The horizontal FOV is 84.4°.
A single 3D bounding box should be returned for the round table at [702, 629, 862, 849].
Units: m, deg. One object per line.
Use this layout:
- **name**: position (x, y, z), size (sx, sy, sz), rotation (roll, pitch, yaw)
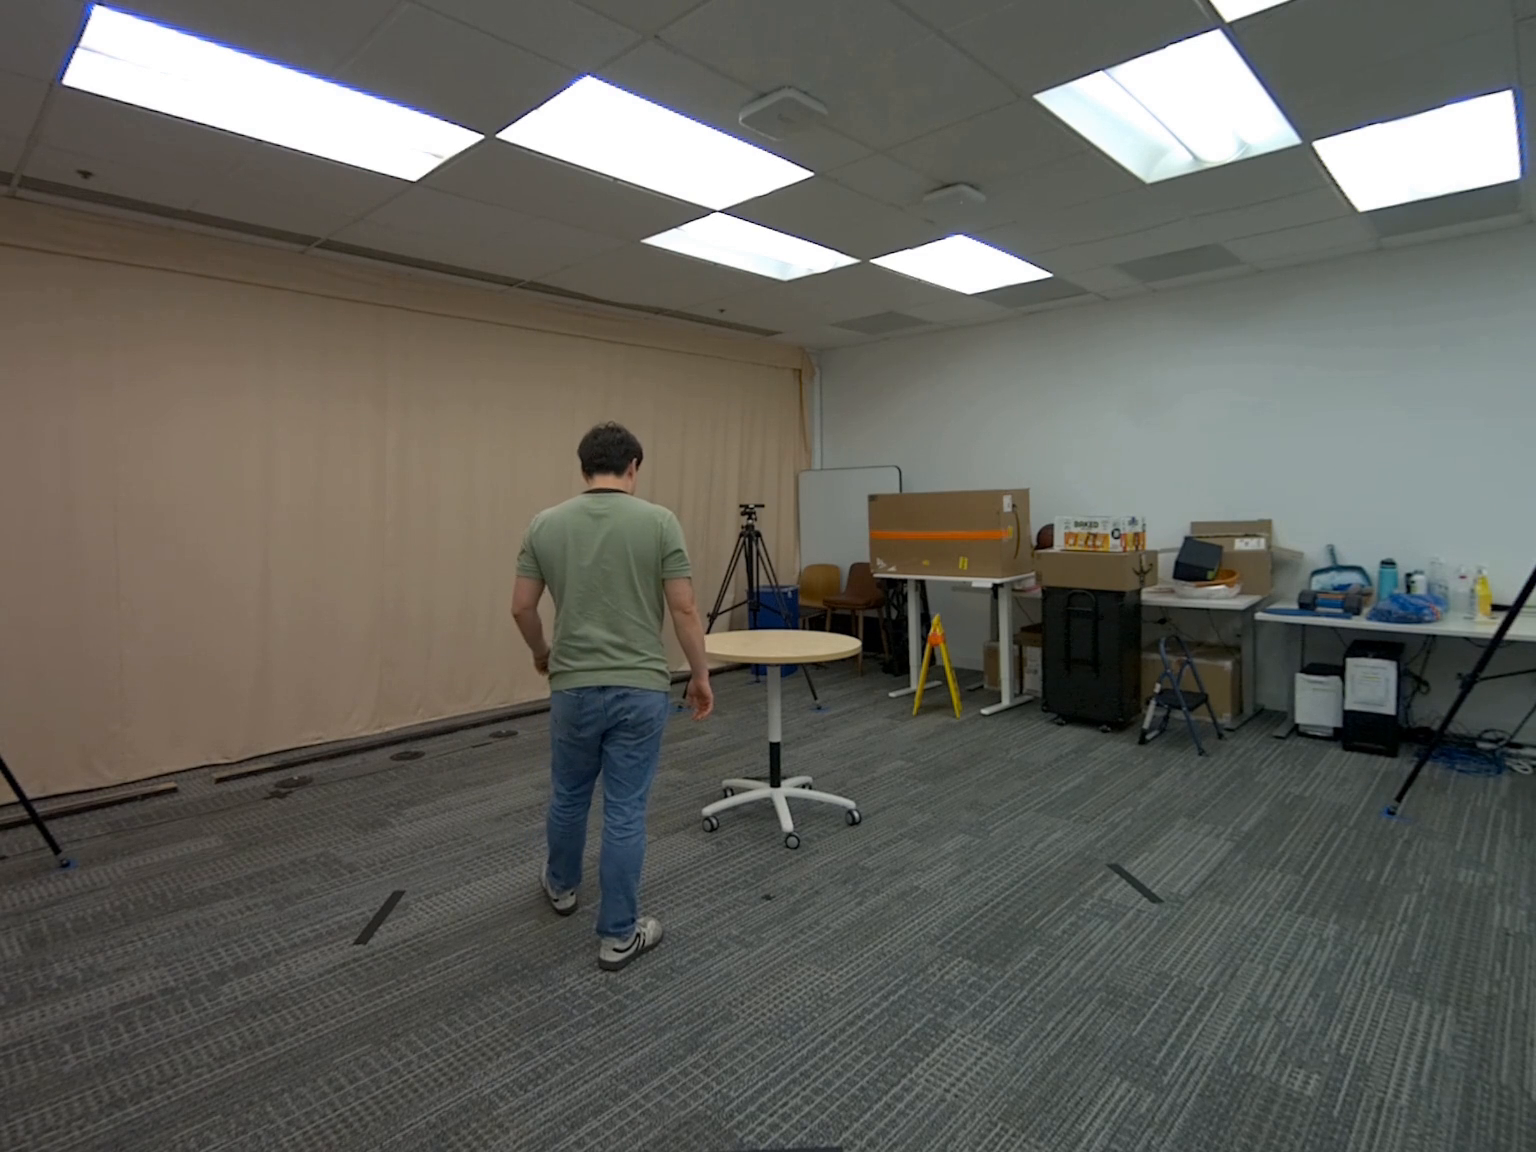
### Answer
- **round table**: position (0.028, 0.684, 3.723), size (0.763, 0.793, 0.766), rotation (-1, 3, -2)
